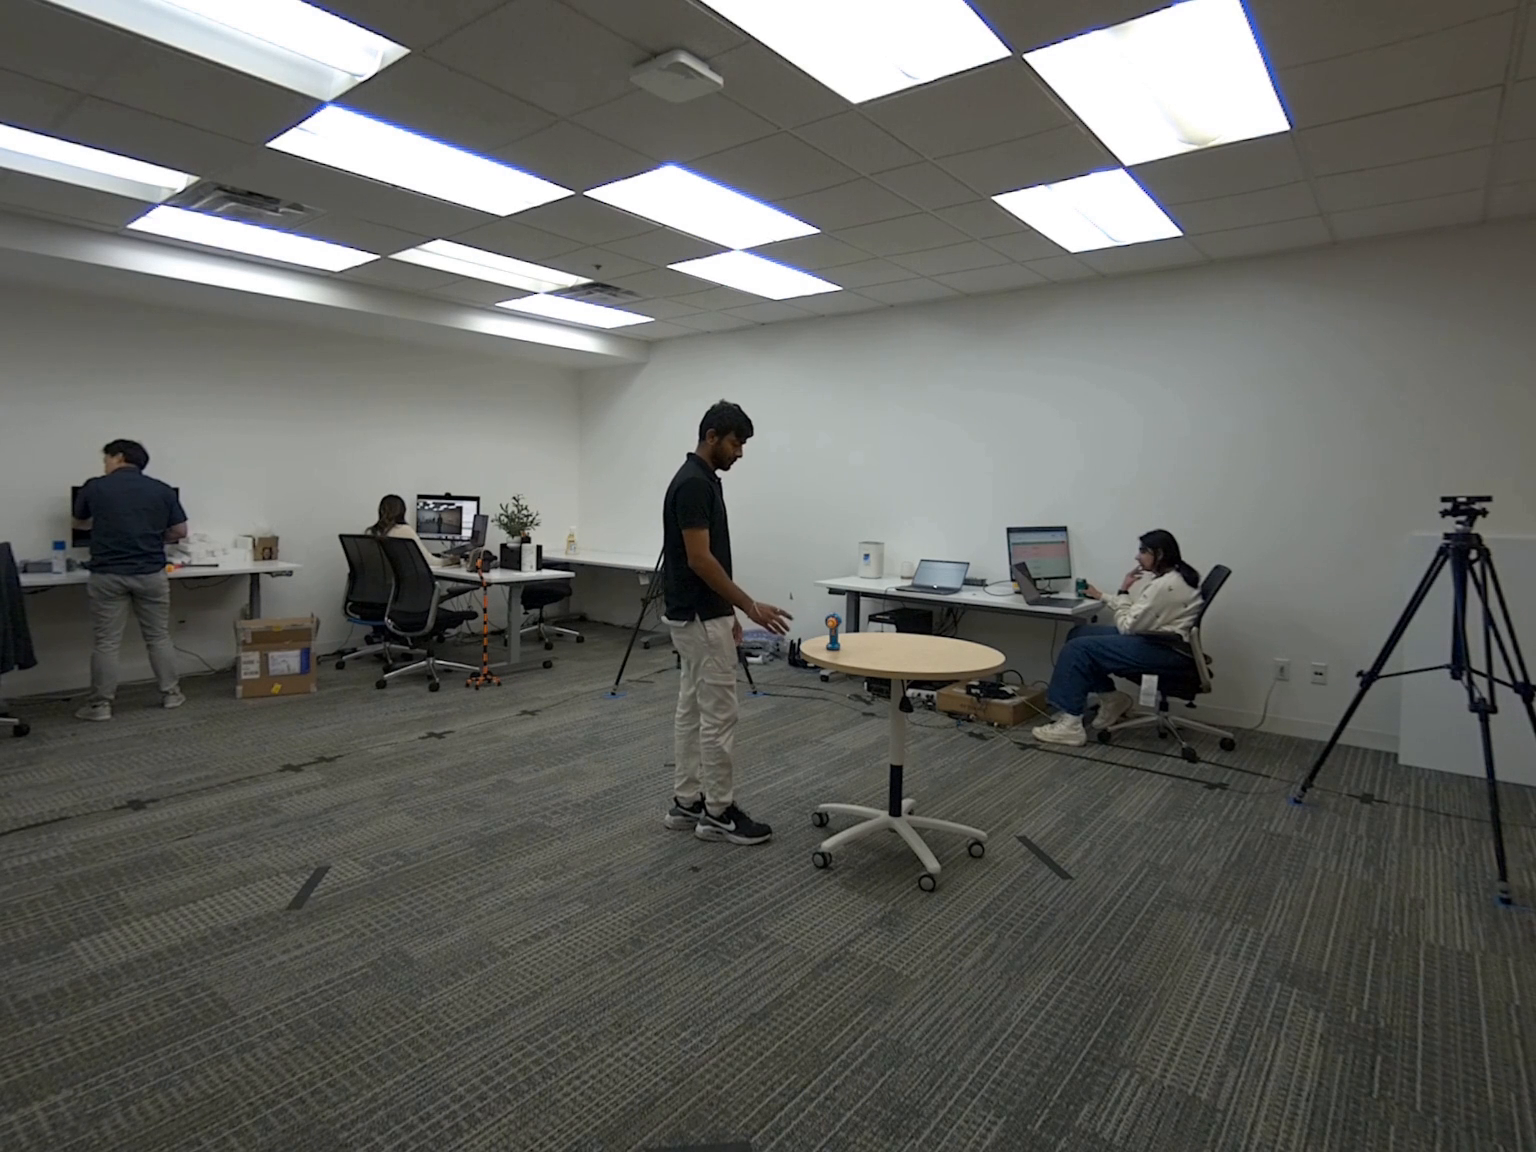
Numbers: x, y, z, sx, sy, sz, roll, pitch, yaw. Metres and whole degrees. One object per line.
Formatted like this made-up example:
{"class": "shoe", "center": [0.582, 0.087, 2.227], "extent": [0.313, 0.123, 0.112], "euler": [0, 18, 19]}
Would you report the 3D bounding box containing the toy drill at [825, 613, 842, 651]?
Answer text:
{"class": "toy drill", "center": [0.240, 0.210, 3.225], "extent": [0.061, 0.146, 0.169], "euler": [0, 3, 5]}
